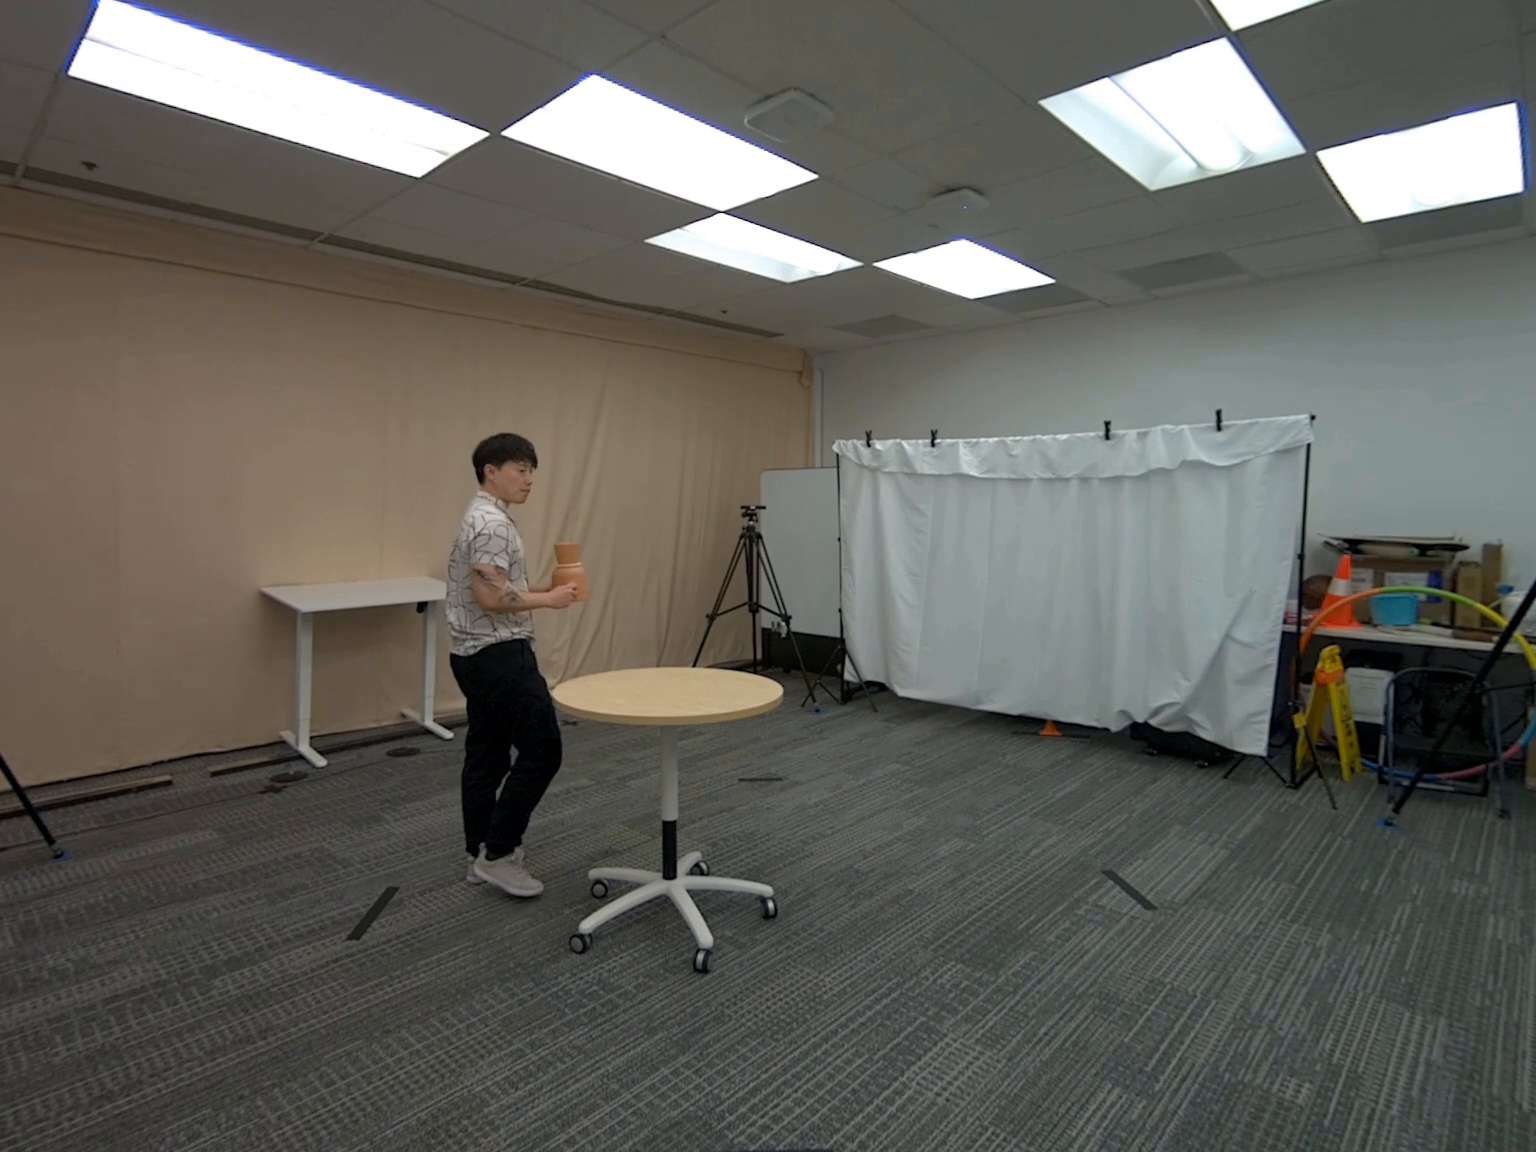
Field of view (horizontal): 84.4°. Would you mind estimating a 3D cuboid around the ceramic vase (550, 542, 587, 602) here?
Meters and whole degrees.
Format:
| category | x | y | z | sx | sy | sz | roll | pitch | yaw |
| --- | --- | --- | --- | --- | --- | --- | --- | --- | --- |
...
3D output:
| category | x | y | z | sx | sy | sz | roll | pitch | yaw |
| --- | --- | --- | --- | --- | --- | --- | --- | --- | --- |
| ceramic vase | -0.770 | -0.014 | 3.218 | 0.163 | 0.219 | 0.131 | -4 | 3 | 33 |
